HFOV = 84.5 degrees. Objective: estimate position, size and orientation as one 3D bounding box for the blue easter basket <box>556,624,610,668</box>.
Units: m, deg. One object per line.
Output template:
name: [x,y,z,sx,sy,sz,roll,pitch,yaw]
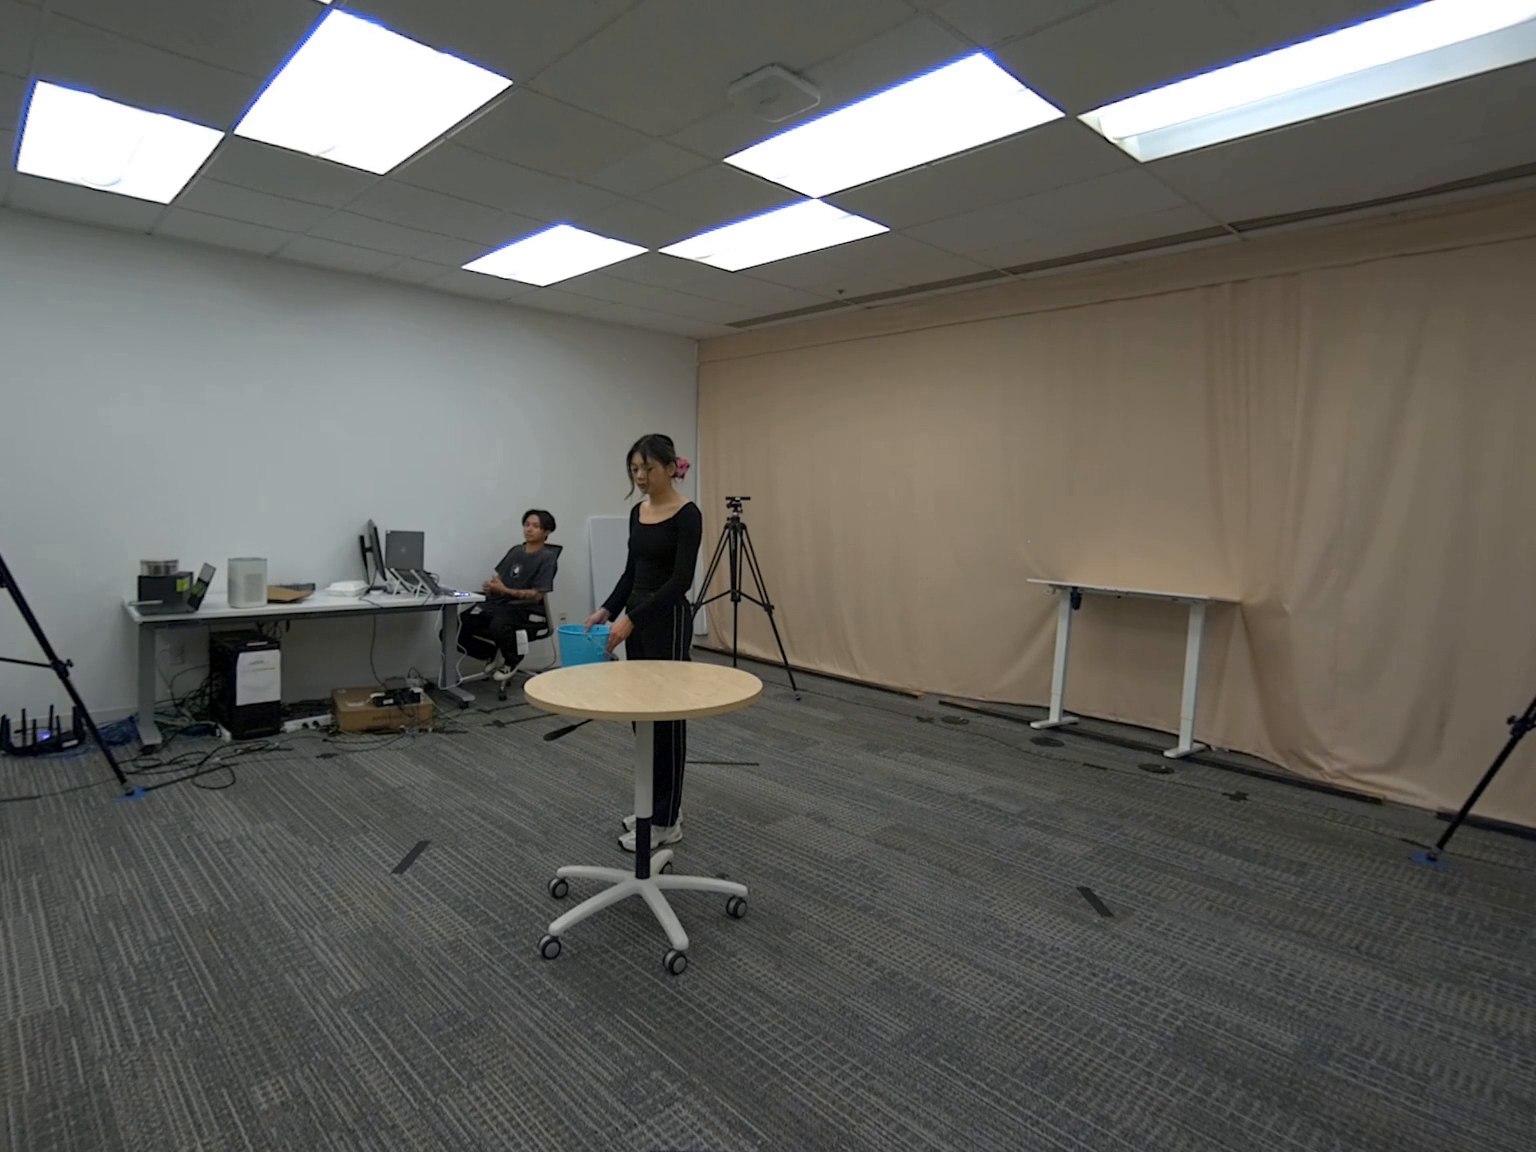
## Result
blue easter basket: [-0.712,0.279,3.259,0.243,0.155,0.244,3,4,-2]
